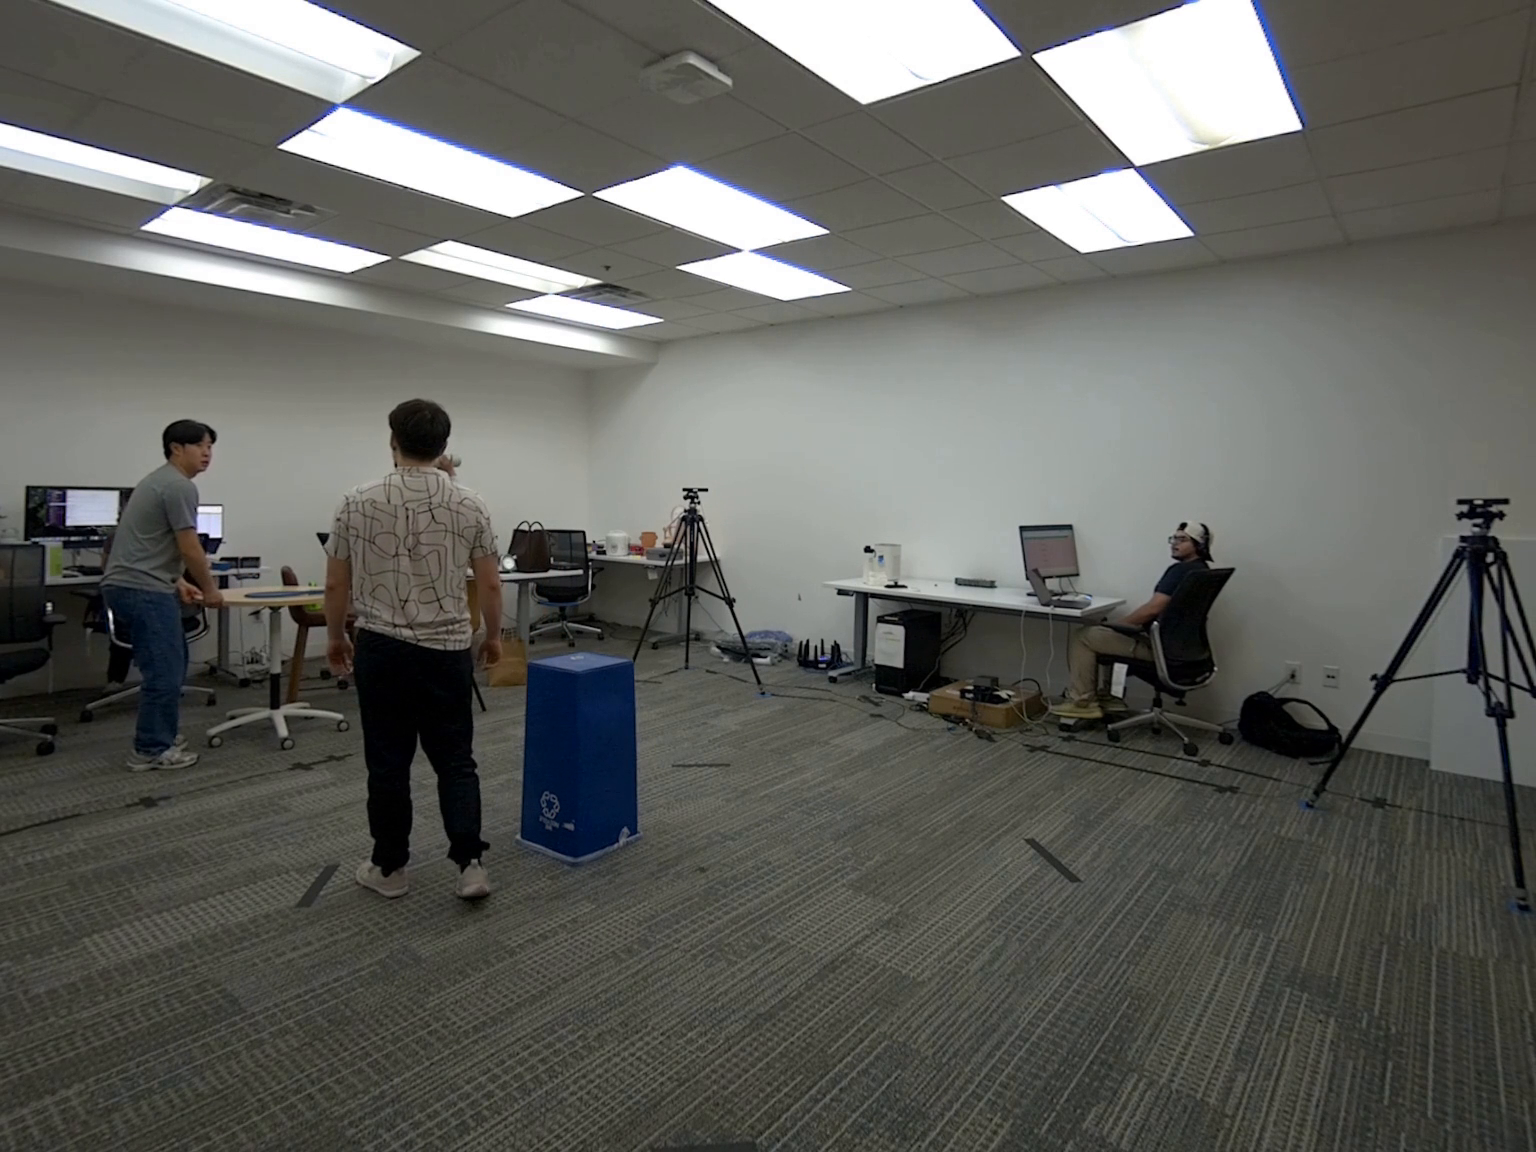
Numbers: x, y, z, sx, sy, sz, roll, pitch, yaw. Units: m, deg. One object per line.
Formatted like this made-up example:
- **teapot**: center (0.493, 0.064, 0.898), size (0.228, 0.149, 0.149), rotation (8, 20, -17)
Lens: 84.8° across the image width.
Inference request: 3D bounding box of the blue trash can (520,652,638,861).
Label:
- **blue trash can**: center (-0.753, 0.685, 3.350), size (0.386, 0.712, 0.367), rotation (2, 2, 36)
